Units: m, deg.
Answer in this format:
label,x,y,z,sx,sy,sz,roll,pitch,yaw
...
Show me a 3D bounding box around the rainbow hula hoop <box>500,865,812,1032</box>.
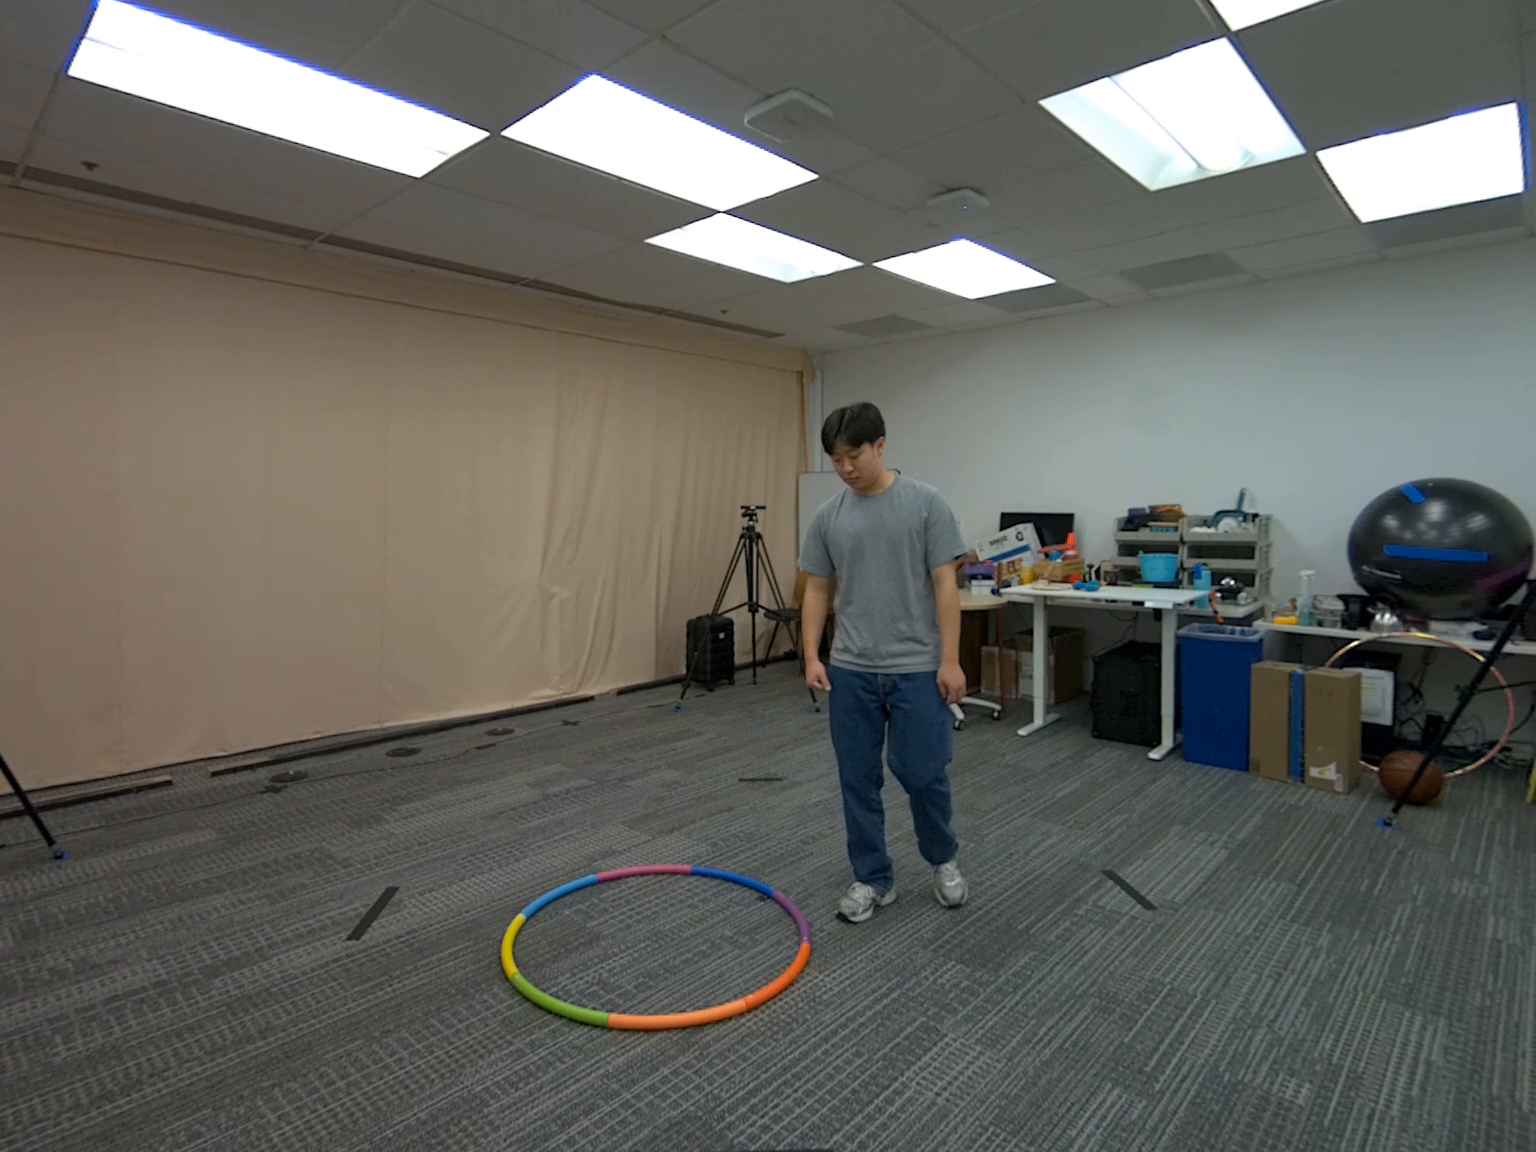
label,x,y,z,sx,sy,sz,roll,pitch,yaw
rainbow hula hoop,-0.351,1.141,2.721,0.978,0.035,0.982,-1,5,-2
